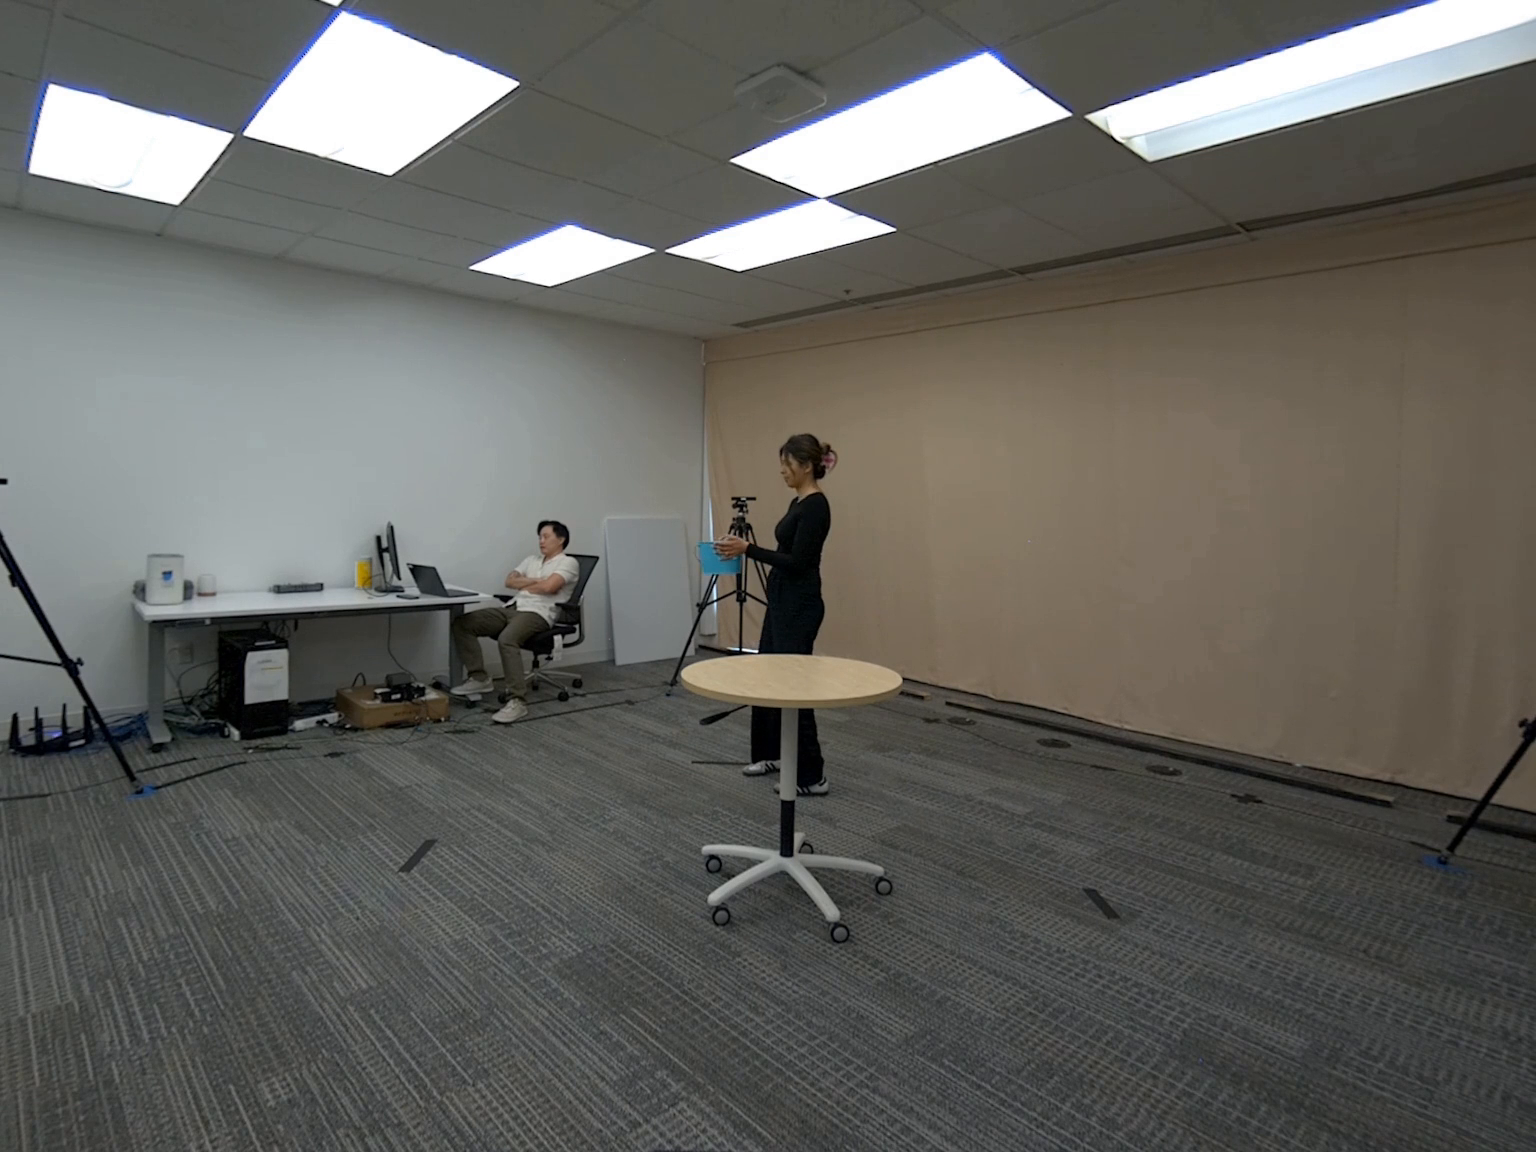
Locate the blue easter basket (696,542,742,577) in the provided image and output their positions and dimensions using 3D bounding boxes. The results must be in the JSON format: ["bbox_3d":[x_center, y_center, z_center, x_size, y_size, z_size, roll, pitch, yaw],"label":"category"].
[{"bbox_3d":[-0.218,-0.086,4.024,0.243,0.156,0.244,2,0,-1],"label":"blue easter basket"}]
